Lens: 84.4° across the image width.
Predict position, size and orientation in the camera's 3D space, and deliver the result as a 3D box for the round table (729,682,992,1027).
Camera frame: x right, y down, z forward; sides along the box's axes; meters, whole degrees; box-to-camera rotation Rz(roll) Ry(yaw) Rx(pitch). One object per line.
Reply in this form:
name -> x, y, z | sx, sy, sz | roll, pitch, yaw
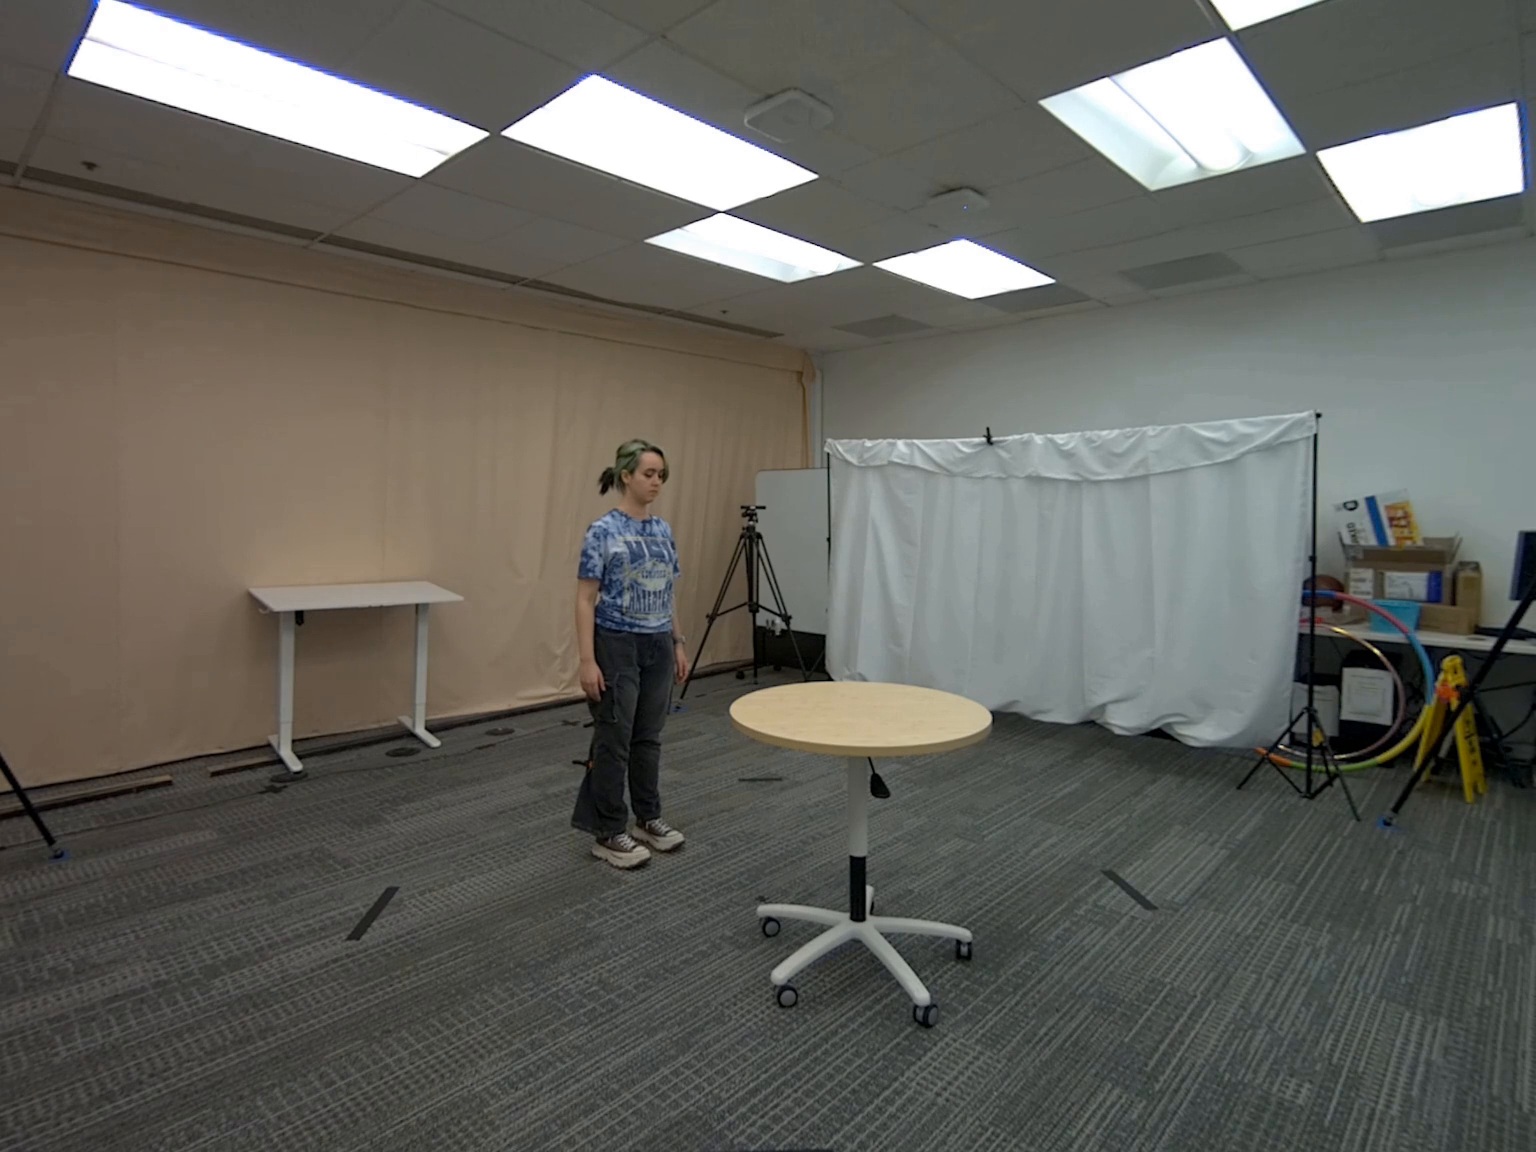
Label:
round table -> 0.278, 0.792, 2.537 | 0.763, 0.792, 0.767 | 0, 4, -2
